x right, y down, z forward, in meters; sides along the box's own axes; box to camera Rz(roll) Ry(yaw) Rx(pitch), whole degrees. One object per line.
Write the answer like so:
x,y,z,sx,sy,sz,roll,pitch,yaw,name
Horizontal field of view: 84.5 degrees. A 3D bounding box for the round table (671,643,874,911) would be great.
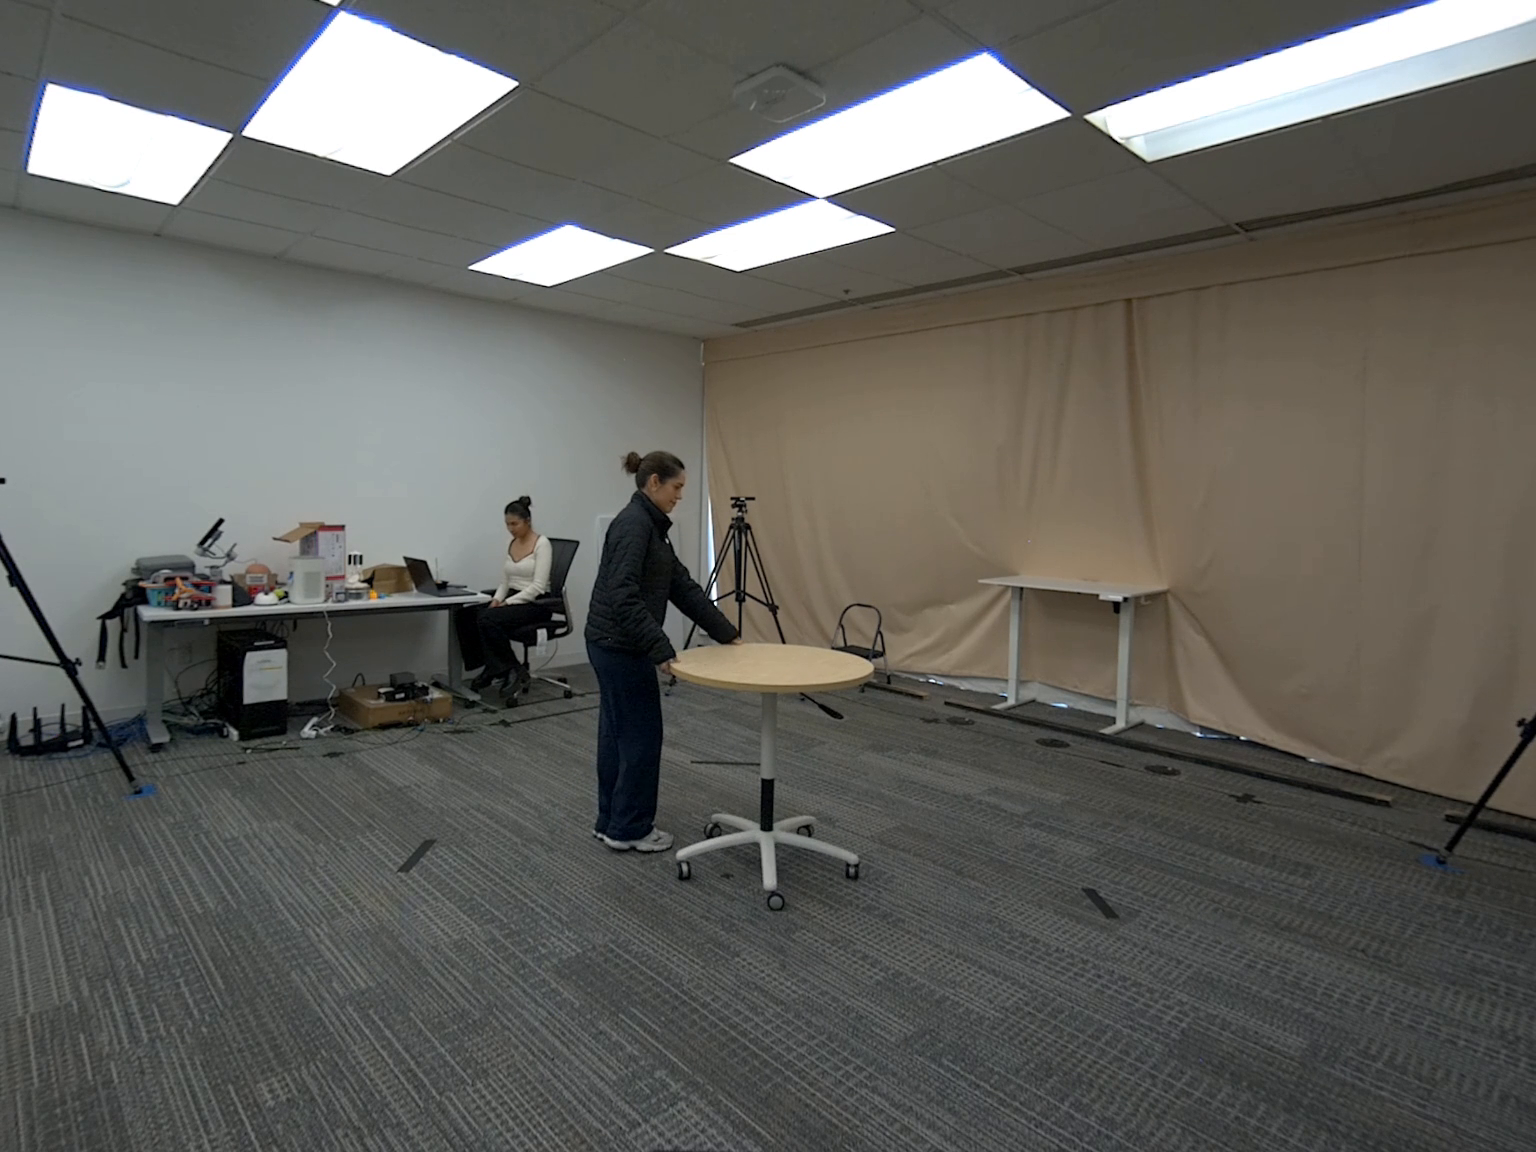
-0.007,0.714,3.147,0.784,0.785,0.787,1,4,-1,round table
